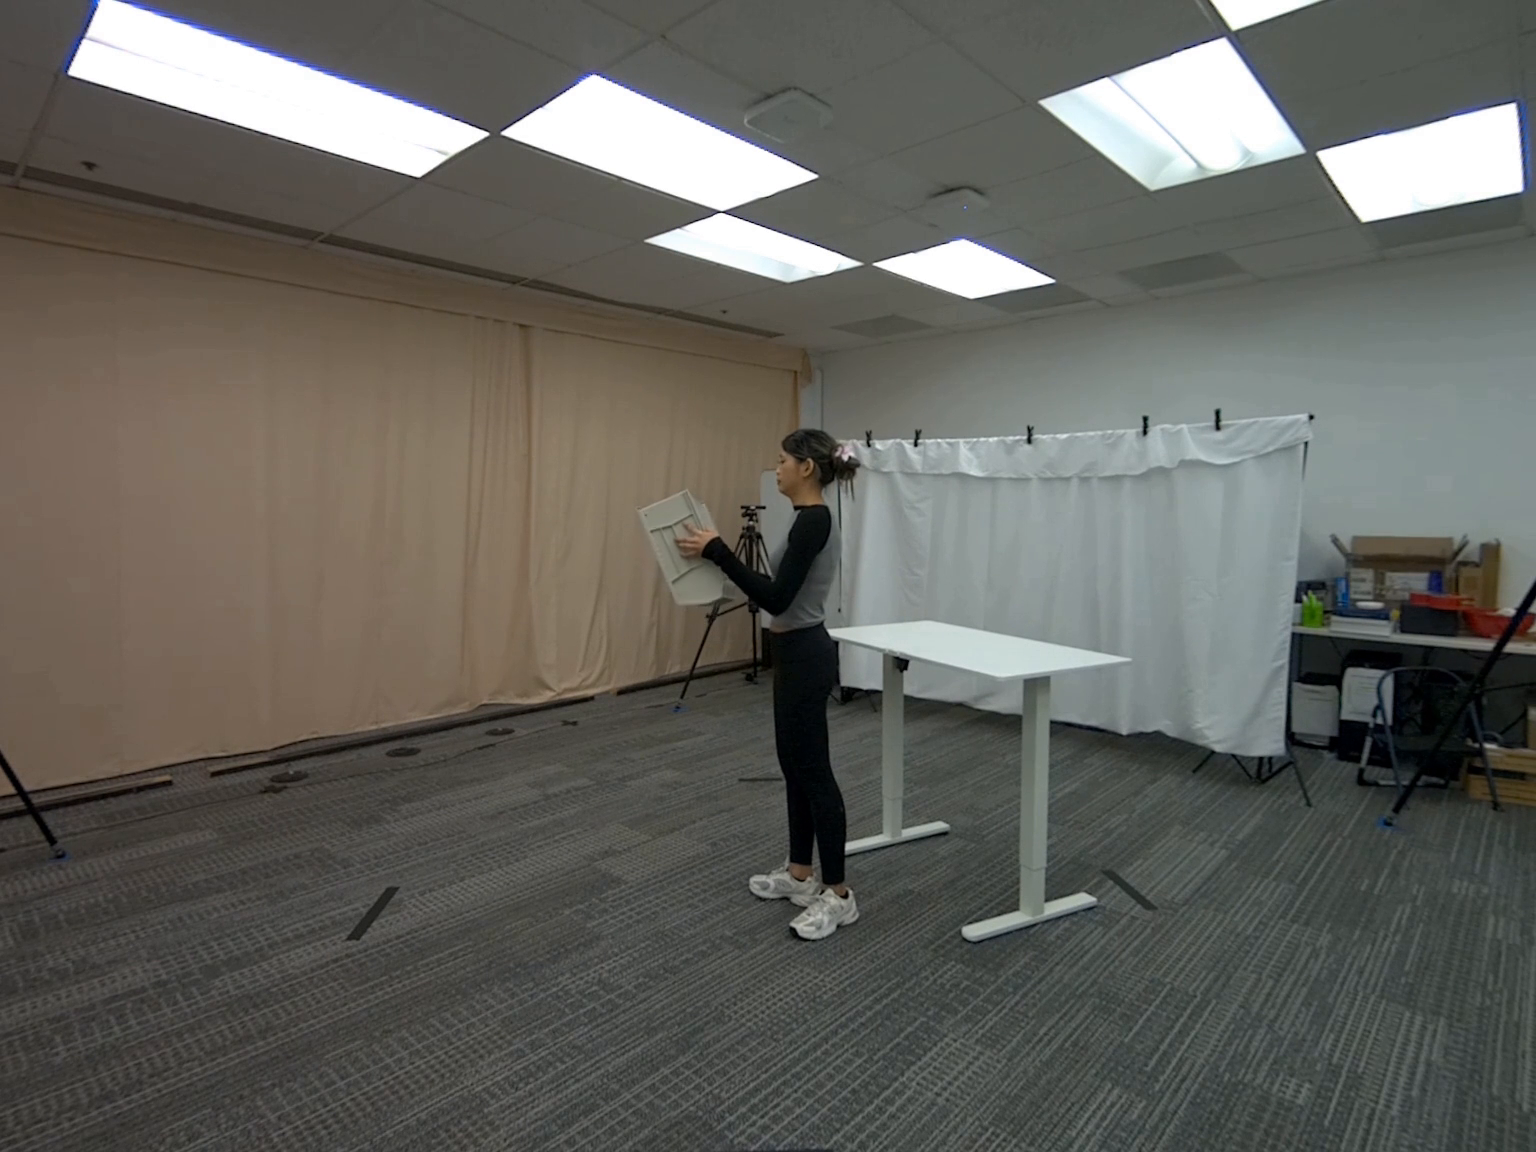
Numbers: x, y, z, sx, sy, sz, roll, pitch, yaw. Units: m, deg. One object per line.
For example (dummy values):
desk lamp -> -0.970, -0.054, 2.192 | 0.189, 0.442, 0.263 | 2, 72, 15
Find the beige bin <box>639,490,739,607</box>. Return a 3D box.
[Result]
beige bin -> -0.258, -0.074, 2.896 | 0.189, 0.380, 0.418 | -22, -6, 3
